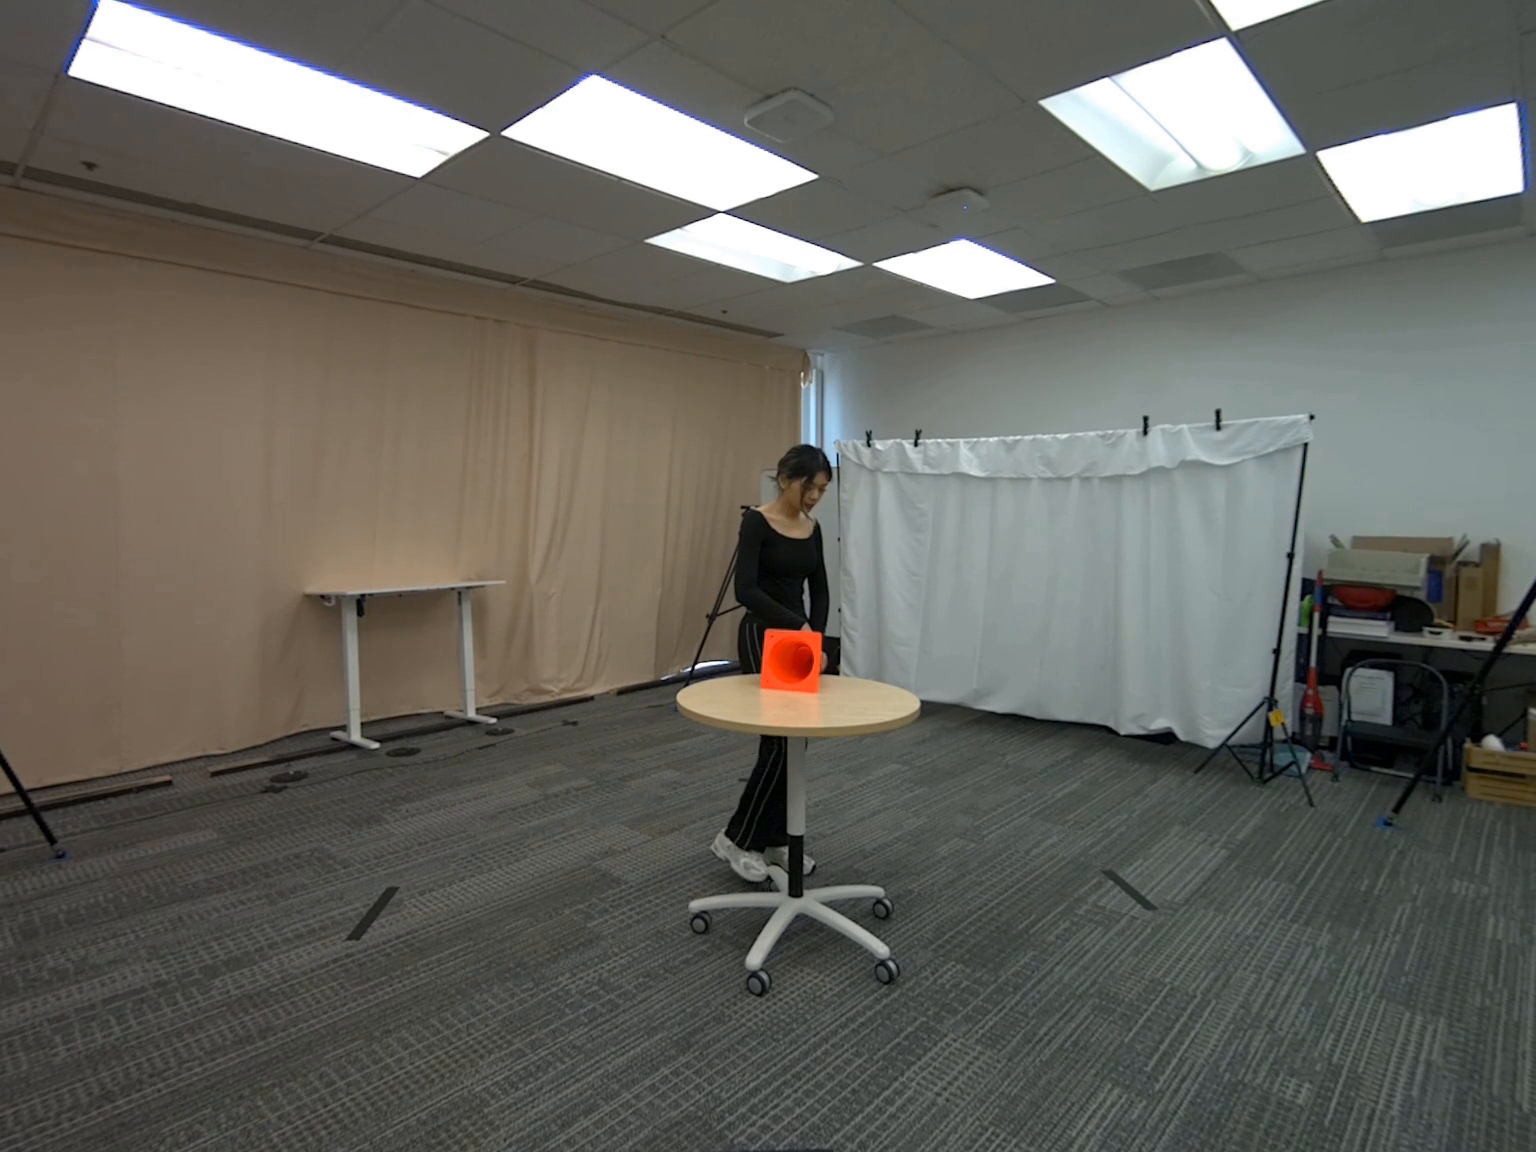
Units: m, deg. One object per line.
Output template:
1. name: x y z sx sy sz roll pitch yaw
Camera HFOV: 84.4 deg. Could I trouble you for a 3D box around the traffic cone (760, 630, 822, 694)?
1. traffic cone: 0.125 0.311 2.955 0.209 0.204 0.374 1 -10 19
